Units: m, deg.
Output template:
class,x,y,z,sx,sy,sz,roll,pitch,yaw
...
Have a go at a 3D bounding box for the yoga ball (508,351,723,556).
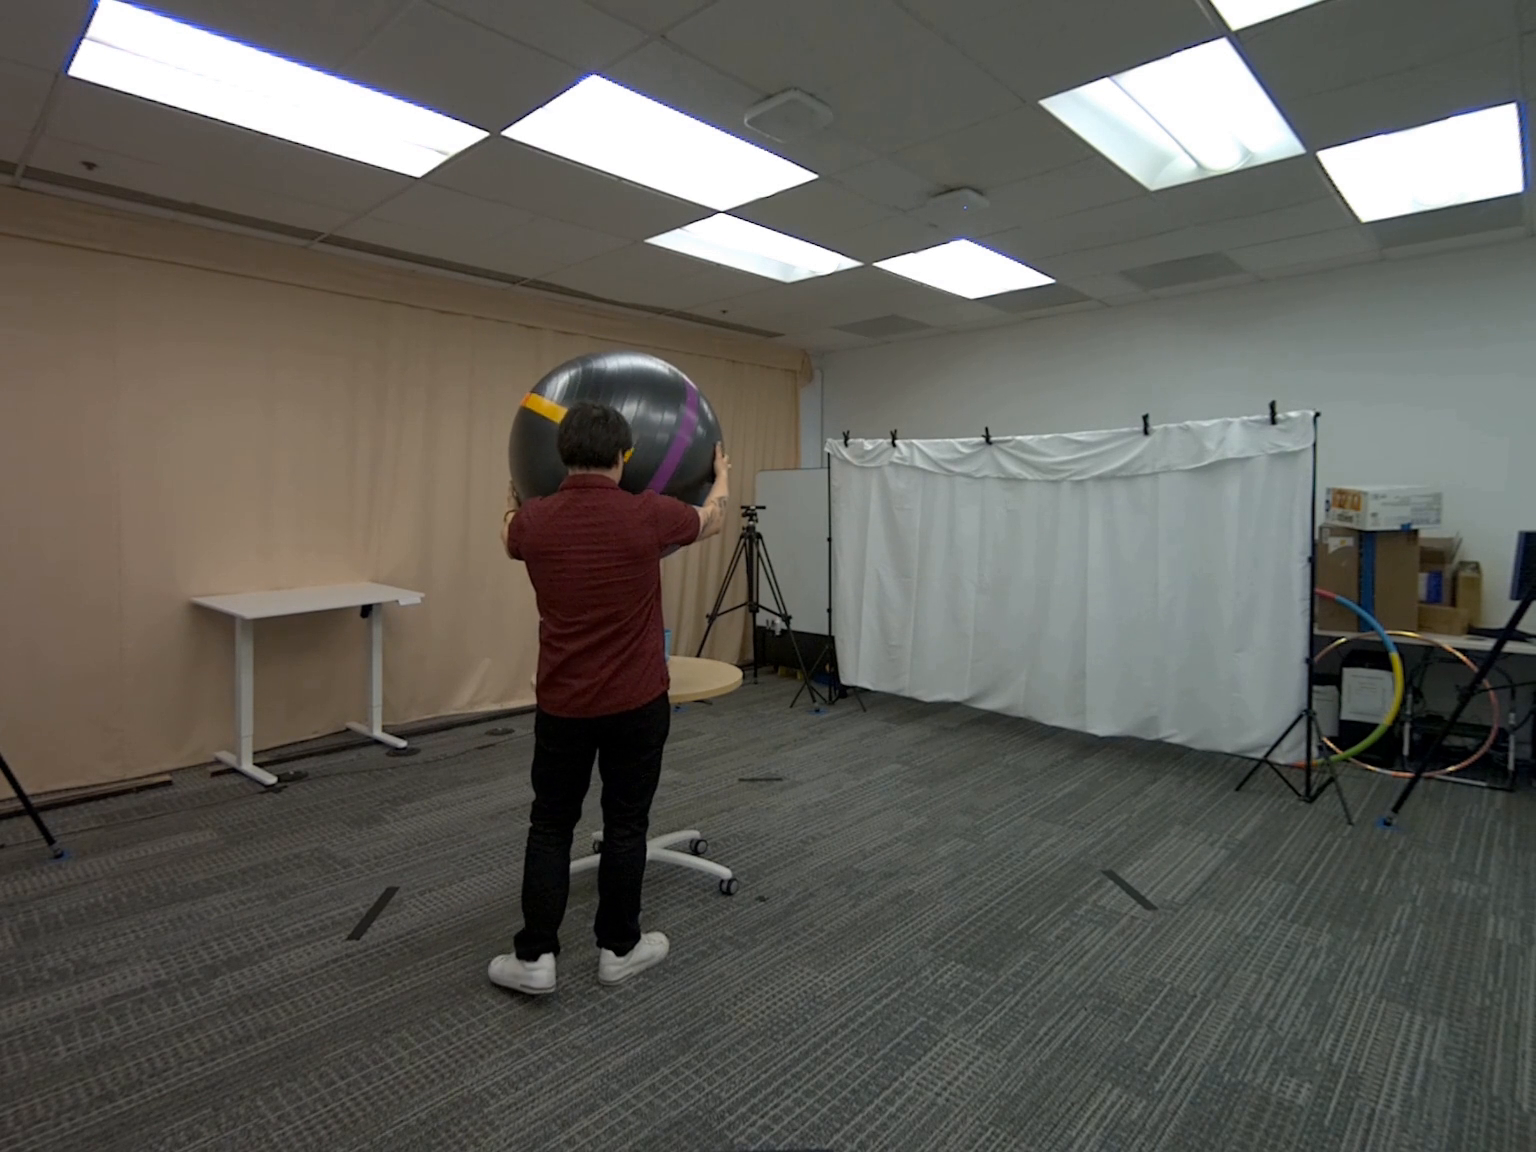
class,x,y,z,sx,sy,sz,roll,pitch,yaw
yoga ball,-0.529,-0.411,2.968,0.757,0.756,0.761,0,4,-2
